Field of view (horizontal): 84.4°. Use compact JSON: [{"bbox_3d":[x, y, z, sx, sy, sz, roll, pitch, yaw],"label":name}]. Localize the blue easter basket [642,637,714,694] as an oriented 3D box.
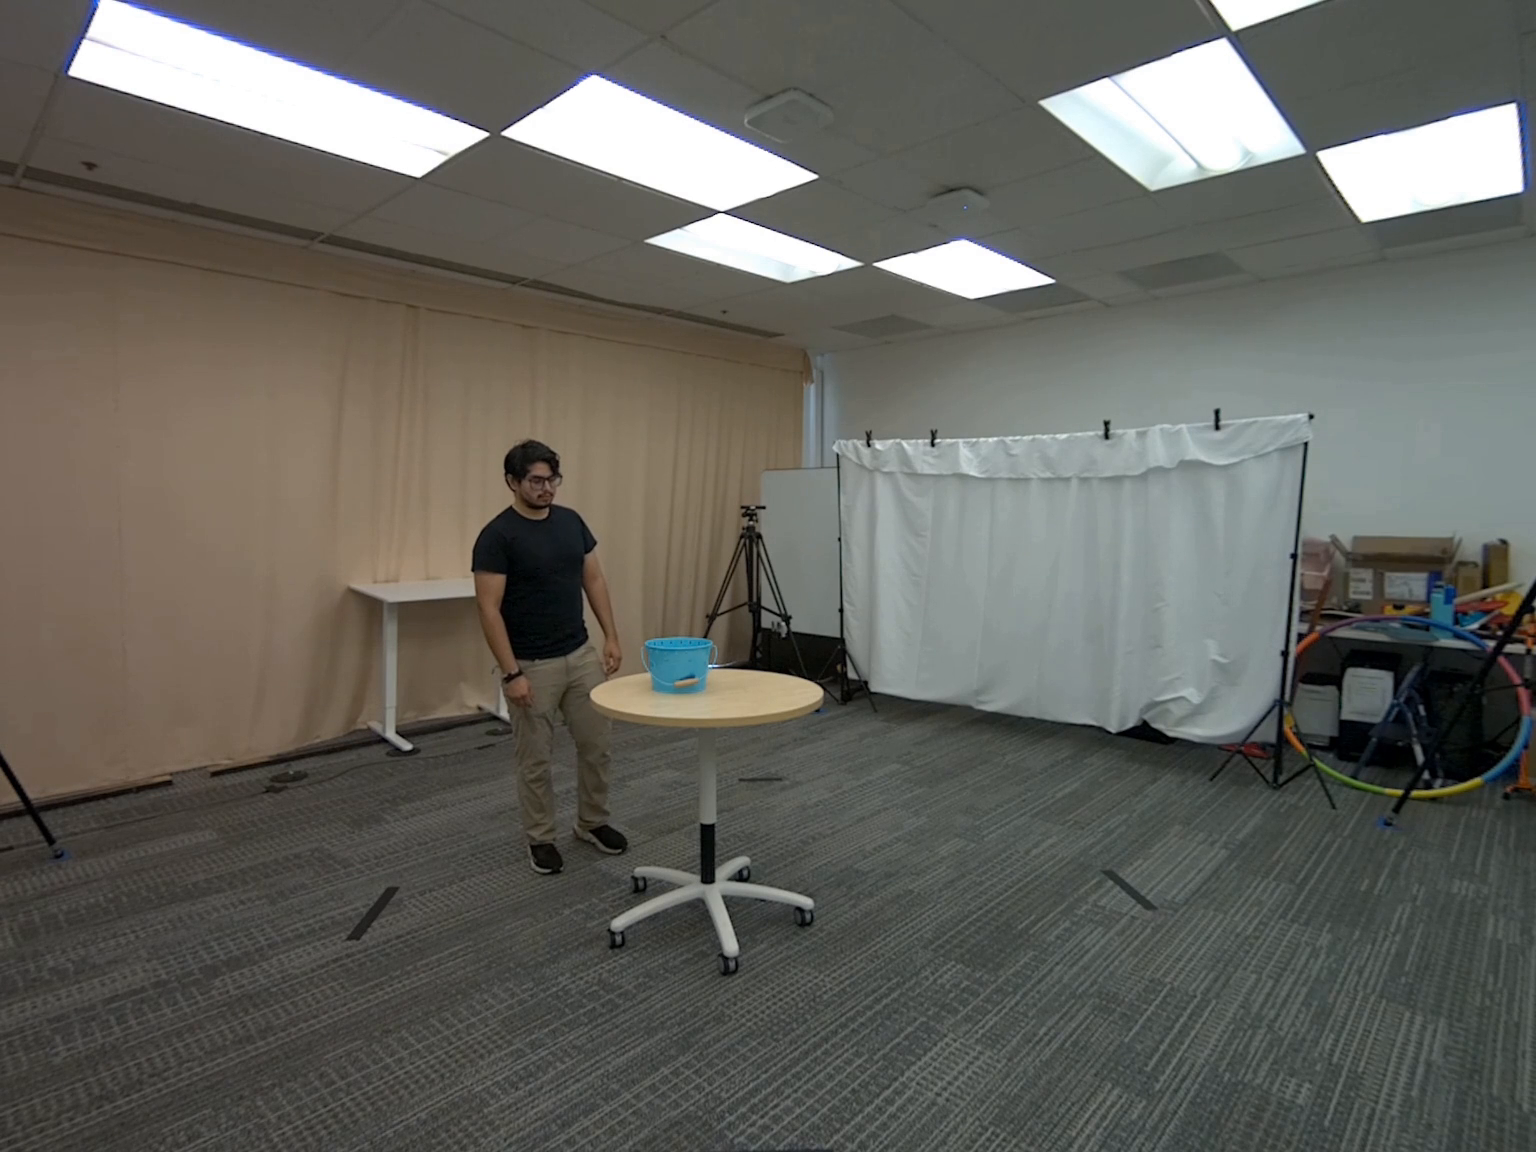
[{"bbox_3d":[-0.299,0.302,2.815,0.243,0.155,0.244,-1,4,-2],"label":"blue easter basket"}]
